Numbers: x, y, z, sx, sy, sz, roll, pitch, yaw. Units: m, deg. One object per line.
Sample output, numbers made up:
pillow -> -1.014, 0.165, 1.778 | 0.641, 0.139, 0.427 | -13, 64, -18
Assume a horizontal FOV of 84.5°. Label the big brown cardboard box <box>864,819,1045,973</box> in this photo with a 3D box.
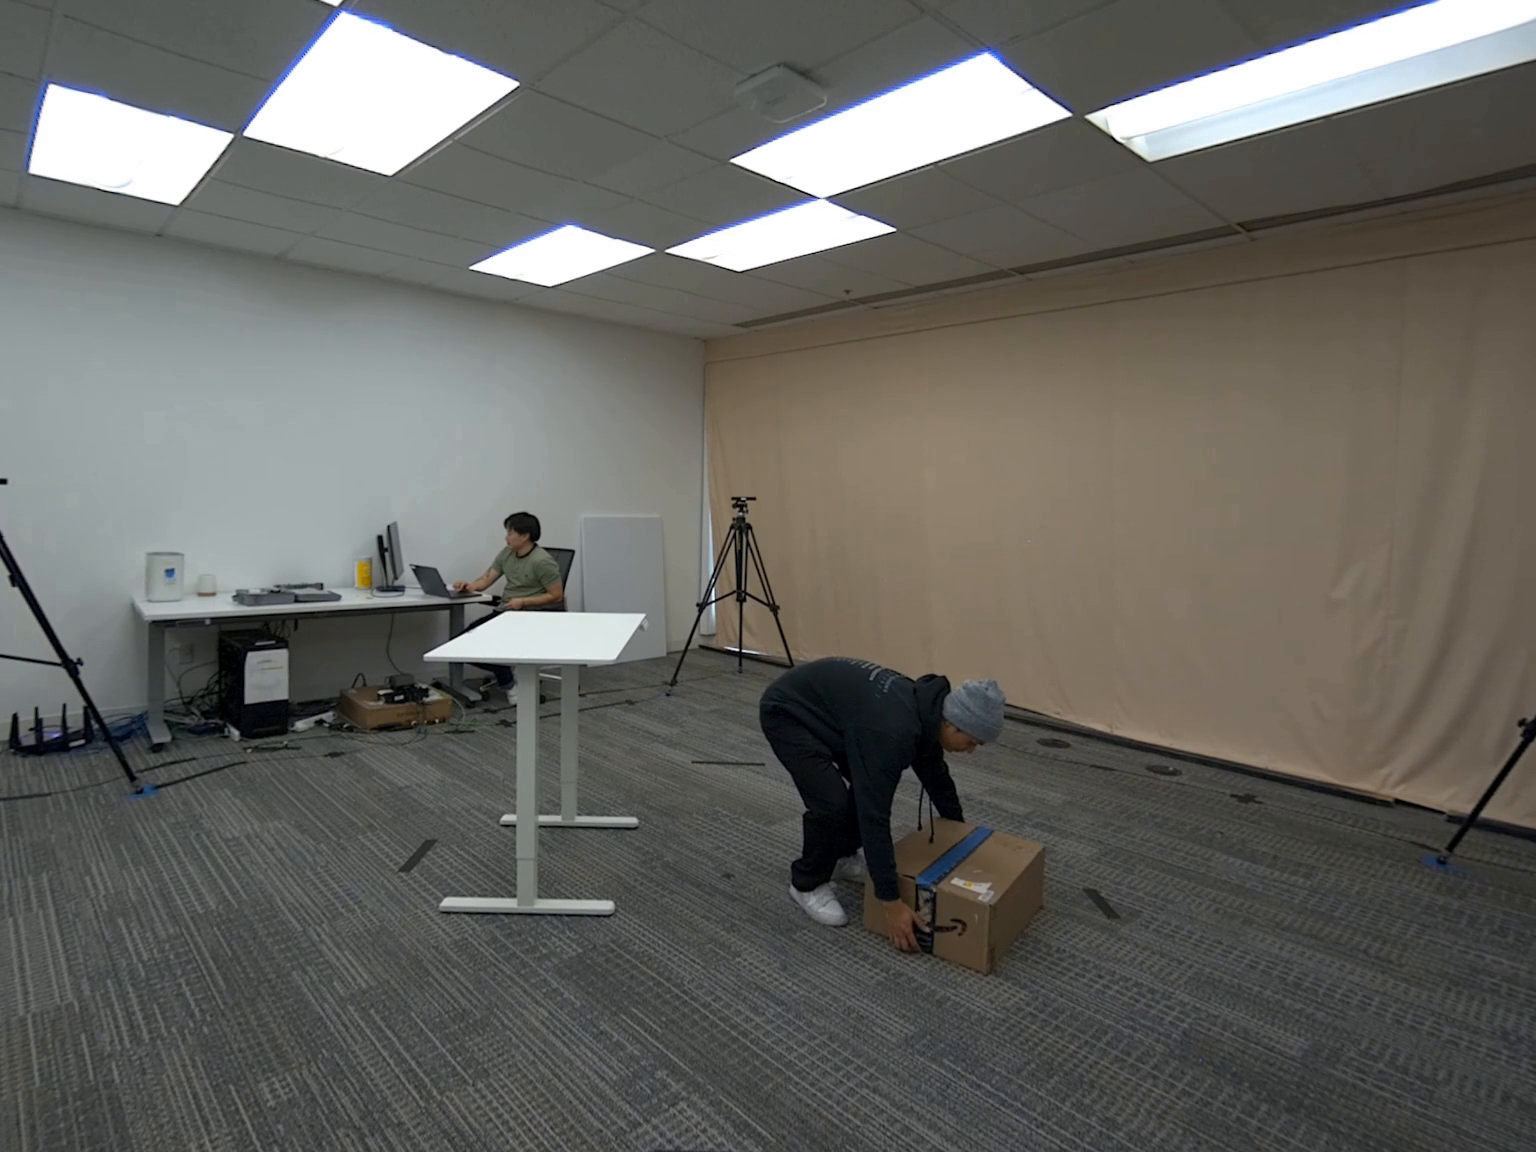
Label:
big brown cardboard box -> 0.628, 1.047, 2.828 | 0.428, 0.232, 0.576 | 7, 6, 34
